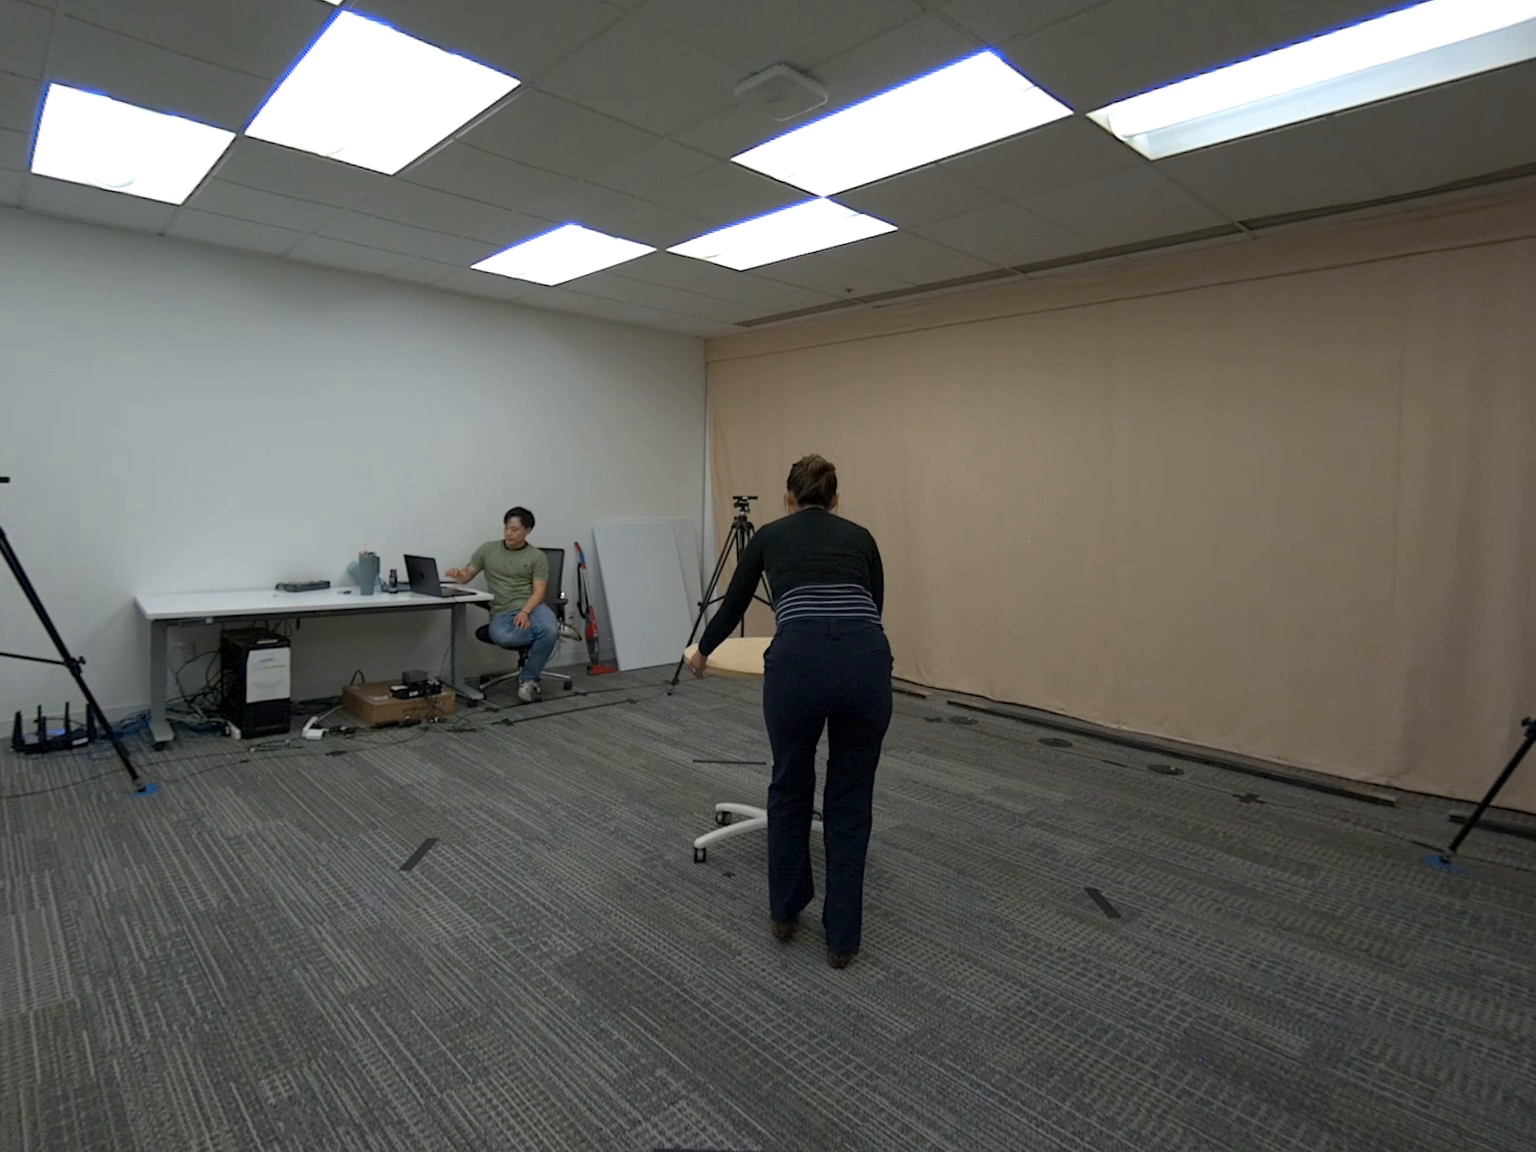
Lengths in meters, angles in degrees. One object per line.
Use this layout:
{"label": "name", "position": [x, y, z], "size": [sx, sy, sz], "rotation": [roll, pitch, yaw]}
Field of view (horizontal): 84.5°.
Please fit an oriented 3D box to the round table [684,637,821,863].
{"label": "round table", "position": [0.041, 0.700, 3.315], "size": [0.763, 0.792, 0.766], "rotation": [1, 4, -1]}
